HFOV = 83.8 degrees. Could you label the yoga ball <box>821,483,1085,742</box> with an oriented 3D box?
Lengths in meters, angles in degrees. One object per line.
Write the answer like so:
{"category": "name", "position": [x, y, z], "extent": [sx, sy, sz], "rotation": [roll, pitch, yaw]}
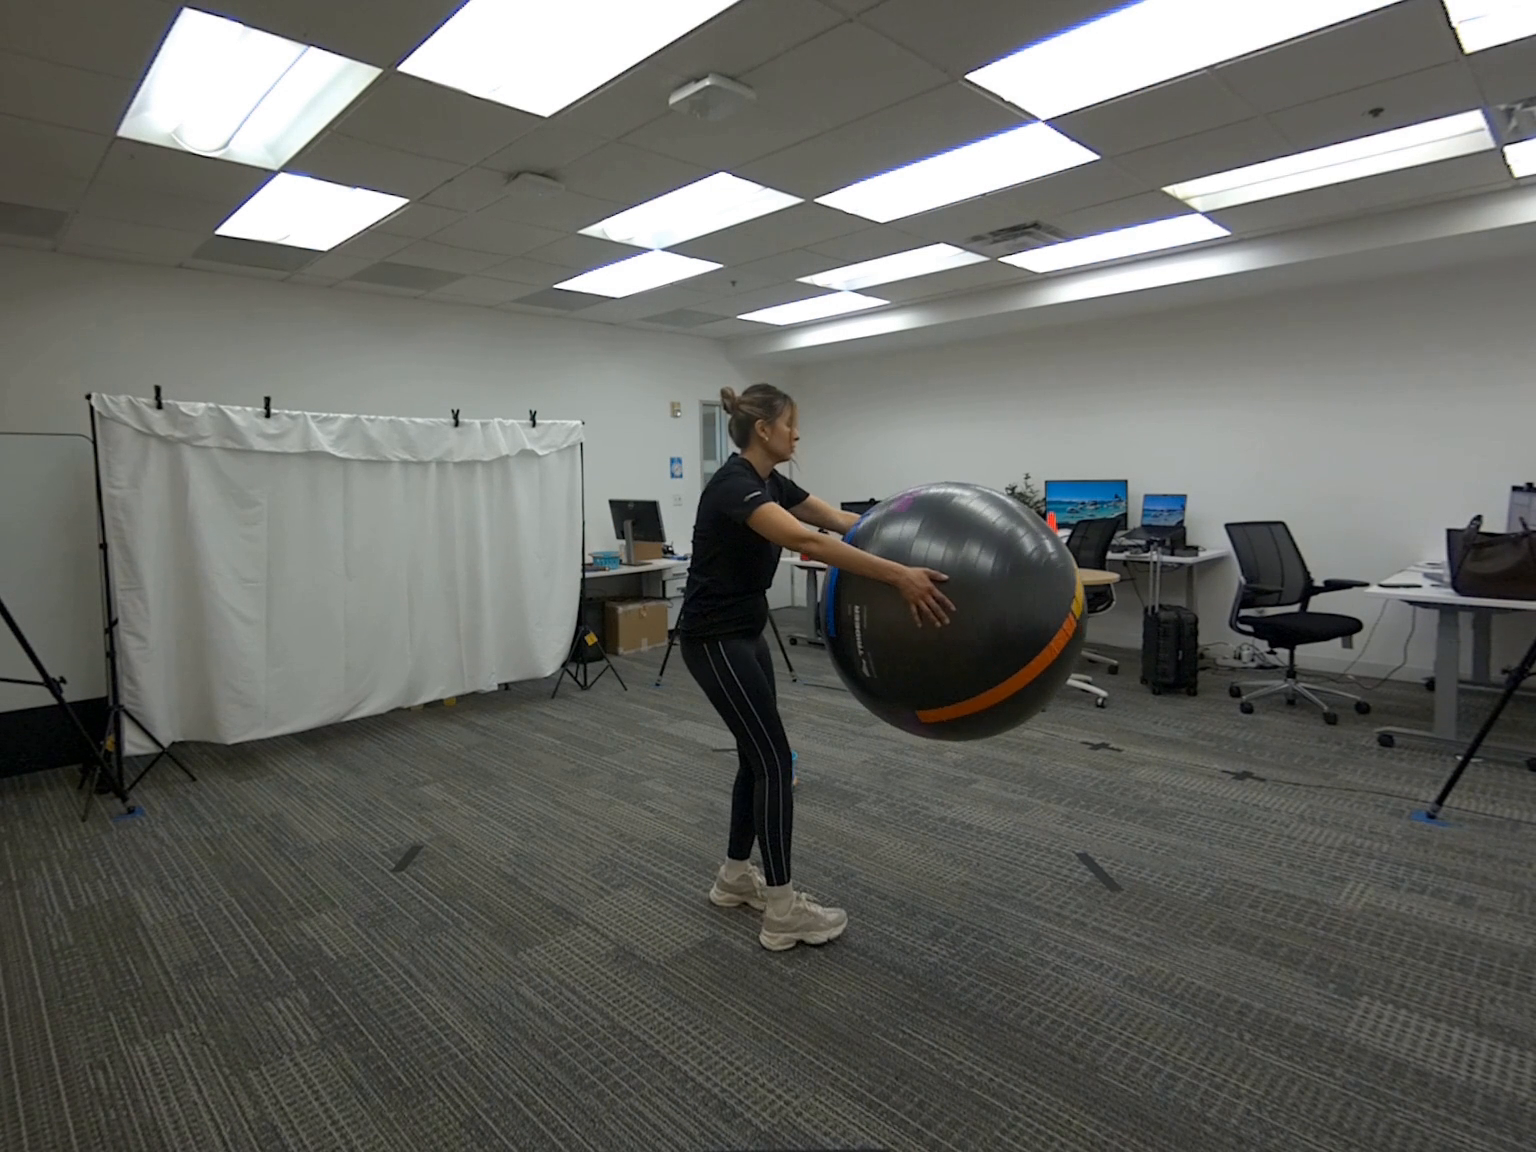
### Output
{"category": "yoga ball", "position": [0.536, 0.108, 2.536], "extent": [0.757, 0.755, 0.762], "rotation": [-1, 5, -2]}
